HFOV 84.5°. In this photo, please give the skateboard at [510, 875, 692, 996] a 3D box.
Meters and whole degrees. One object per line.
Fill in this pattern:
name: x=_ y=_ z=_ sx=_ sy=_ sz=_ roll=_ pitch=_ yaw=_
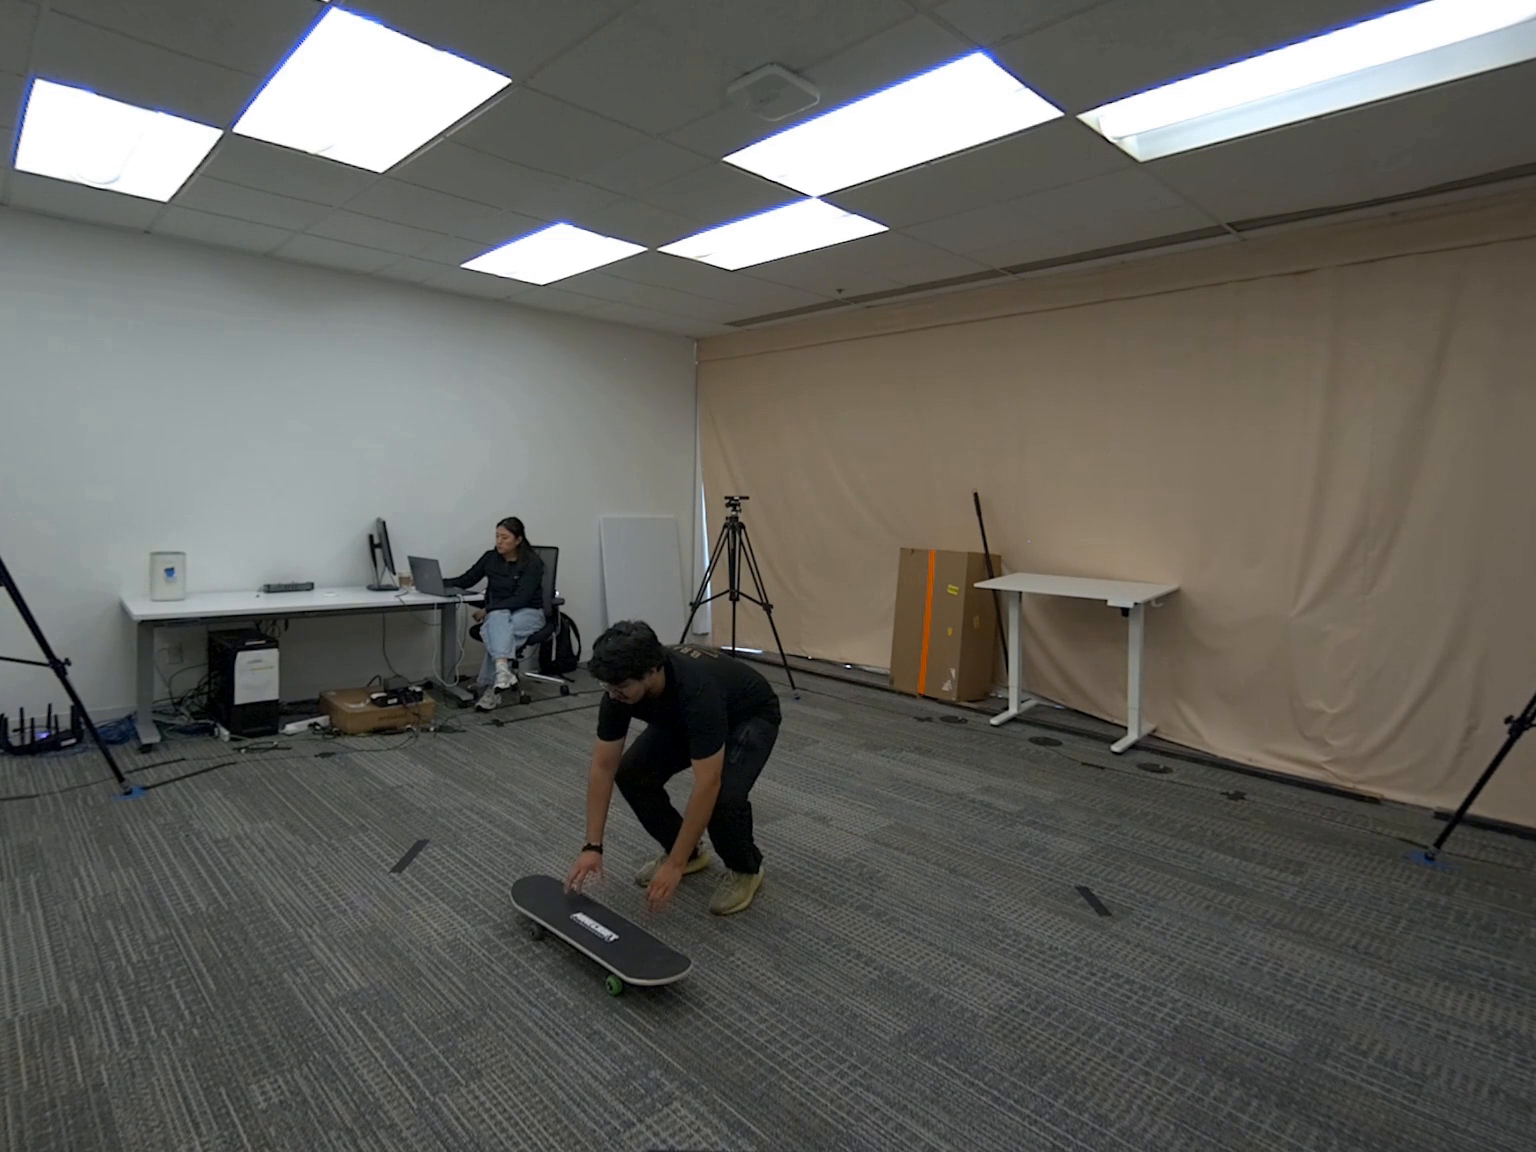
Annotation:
skateboard: x=-0.522 y=1.089 z=2.542 sx=0.805 sy=0.110 sz=0.189 roll=5 pitch=7 yaw=42
